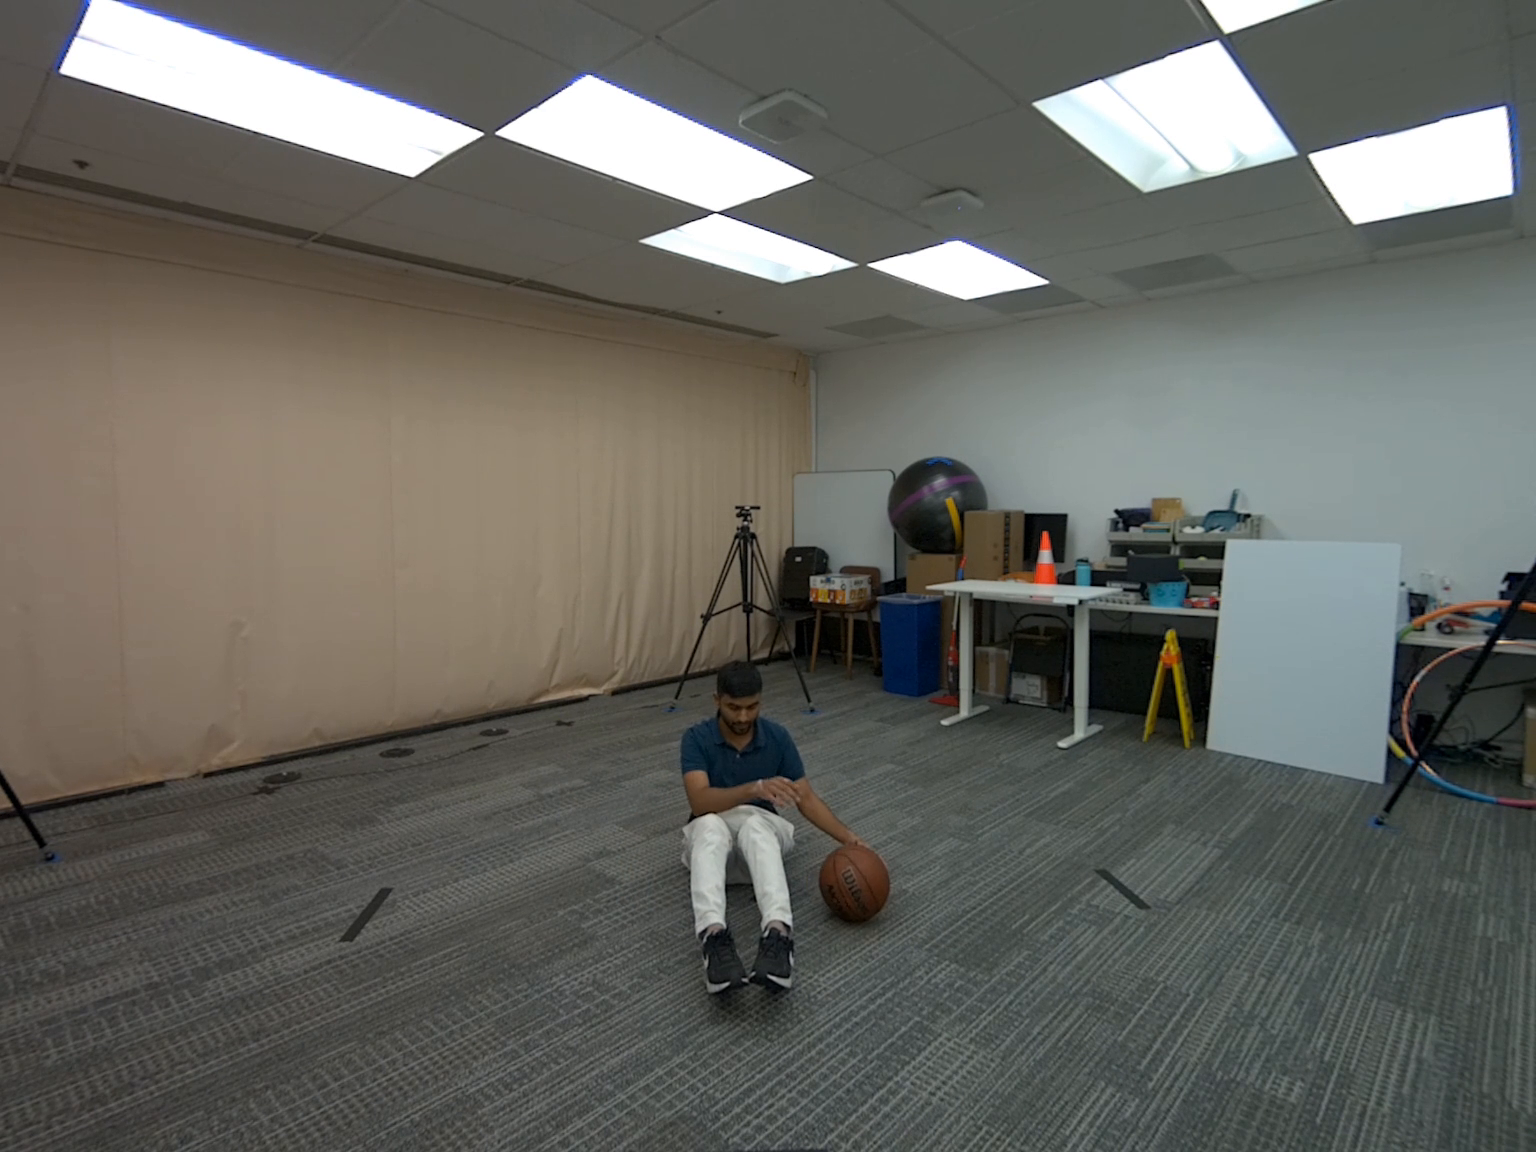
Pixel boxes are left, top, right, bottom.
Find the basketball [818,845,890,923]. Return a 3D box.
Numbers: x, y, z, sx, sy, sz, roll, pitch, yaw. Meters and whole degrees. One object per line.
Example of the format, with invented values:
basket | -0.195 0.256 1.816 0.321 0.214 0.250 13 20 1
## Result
basketball | 0.293 1.037 2.835 0.236 0.235 0.237 0 4 -2
